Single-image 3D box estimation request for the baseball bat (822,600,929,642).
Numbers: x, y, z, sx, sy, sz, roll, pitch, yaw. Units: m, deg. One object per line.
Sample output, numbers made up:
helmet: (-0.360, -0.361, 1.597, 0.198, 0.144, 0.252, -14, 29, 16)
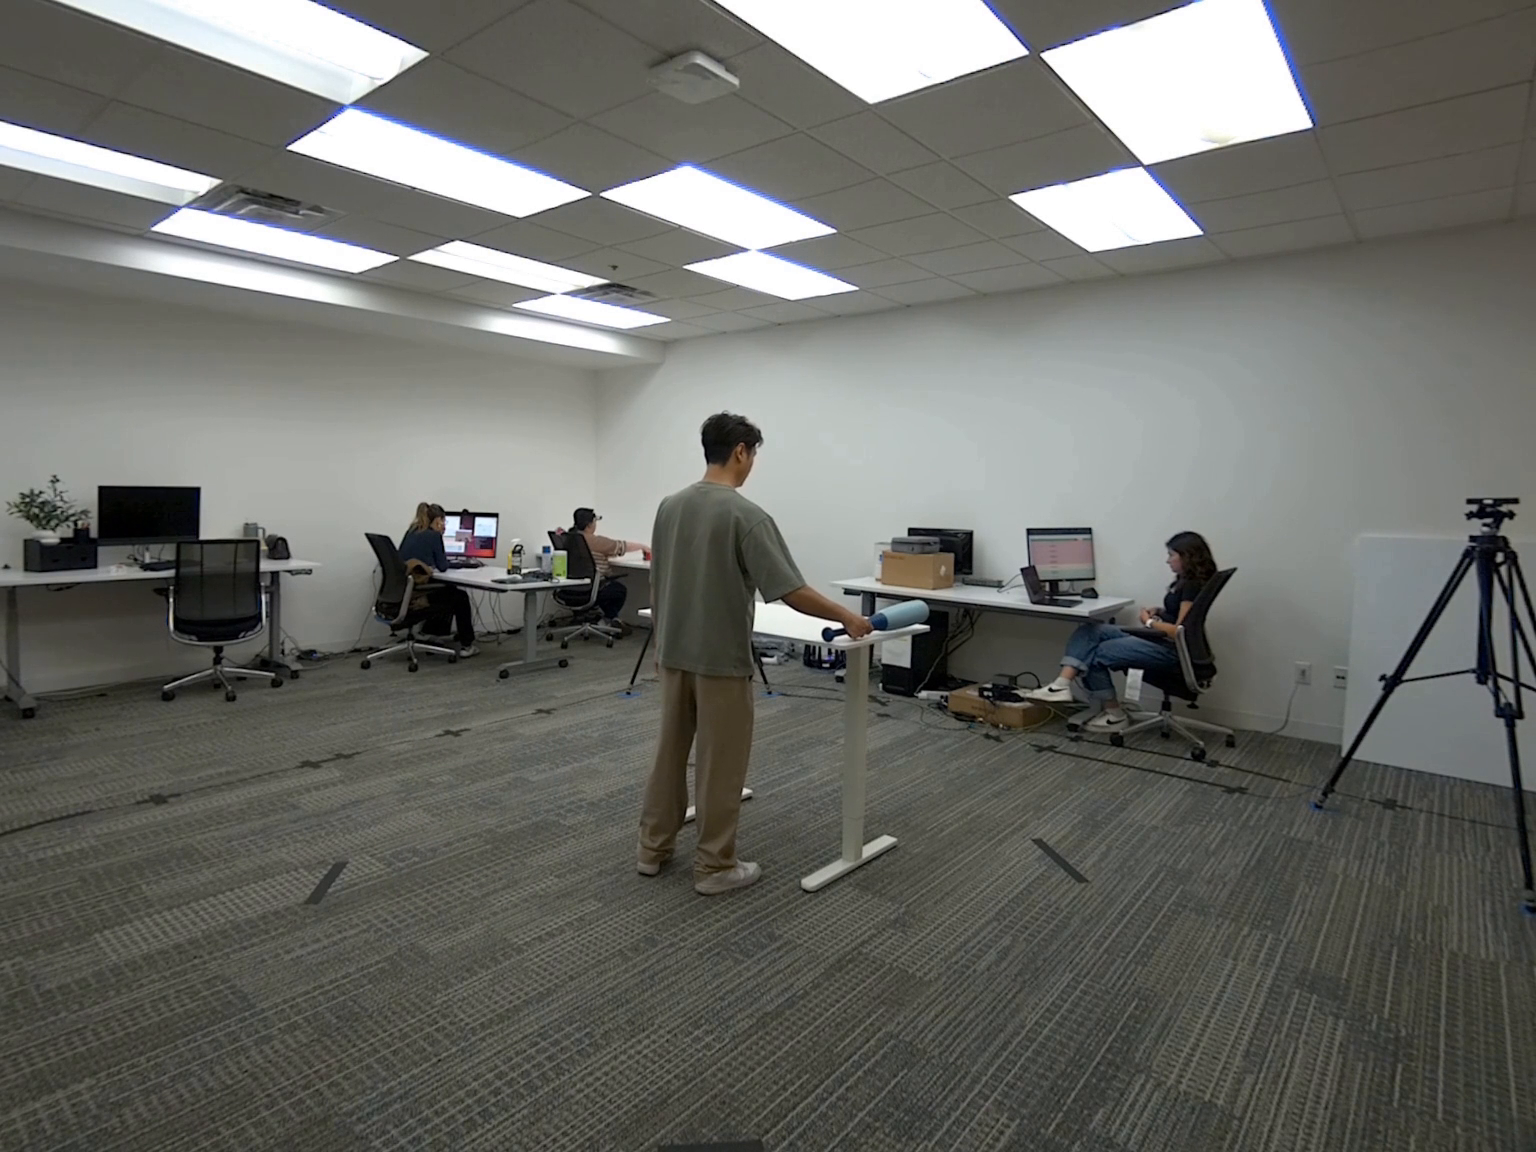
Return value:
baseball bat: (0.380, 0.170, 3.002, 0.529, 0.088, 0.092, -11, 11, -42)
